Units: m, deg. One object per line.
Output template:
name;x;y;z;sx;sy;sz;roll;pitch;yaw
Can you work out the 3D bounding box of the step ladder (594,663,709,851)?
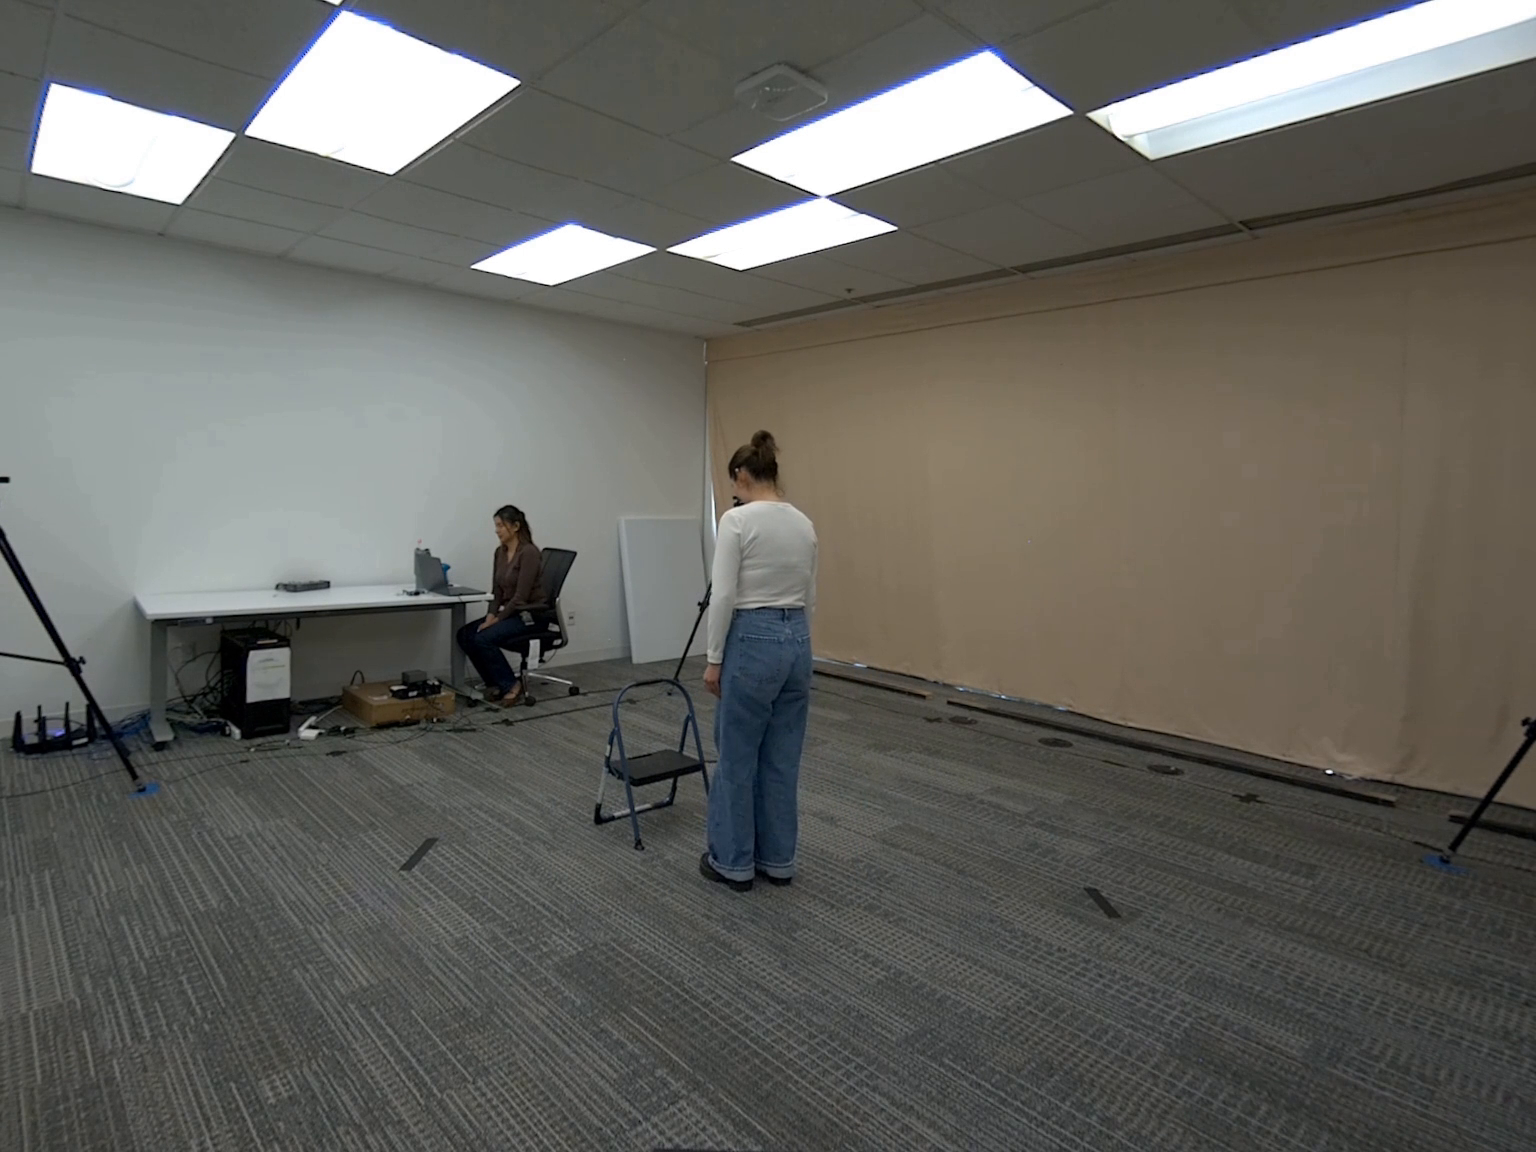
step ladder;-0.471;0.753;3.551;0.421;0.605;0.358;-2;4;-44
